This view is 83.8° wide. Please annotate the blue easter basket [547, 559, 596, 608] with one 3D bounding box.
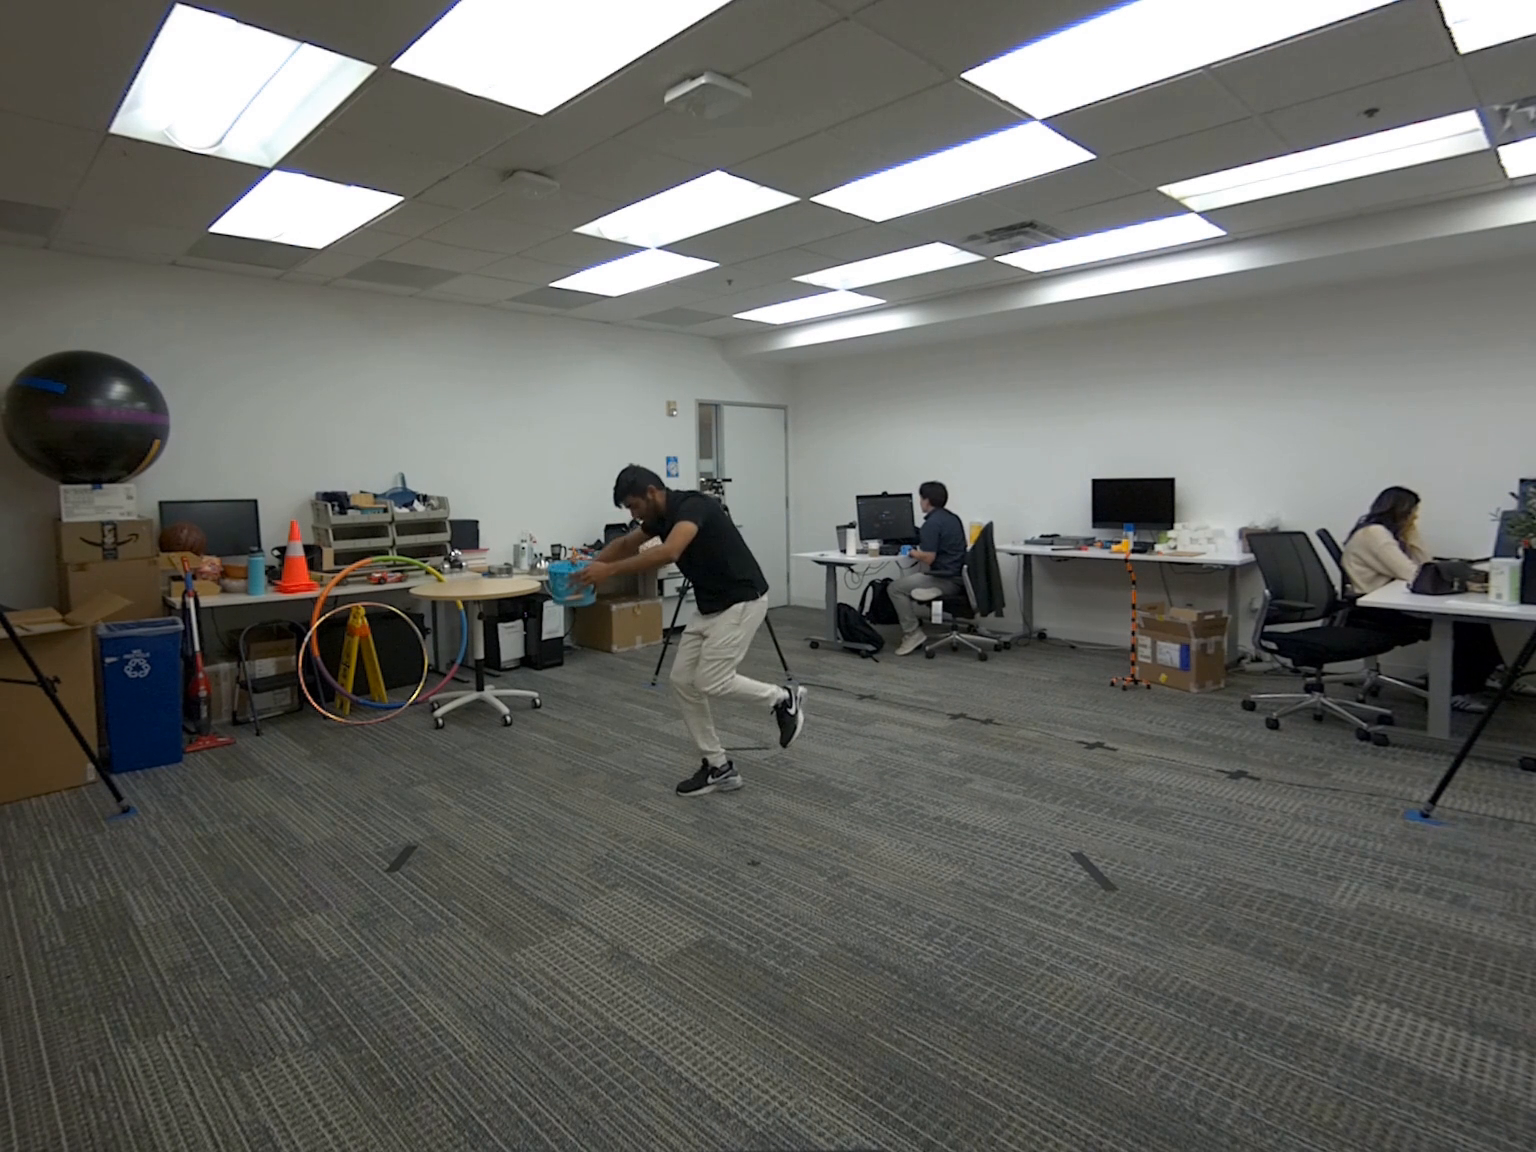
[{"bbox_3d":[-0.837,0.011,3.638,0.243,0.154,0.247,-1,14,-1],"label":"blue easter basket"}]
